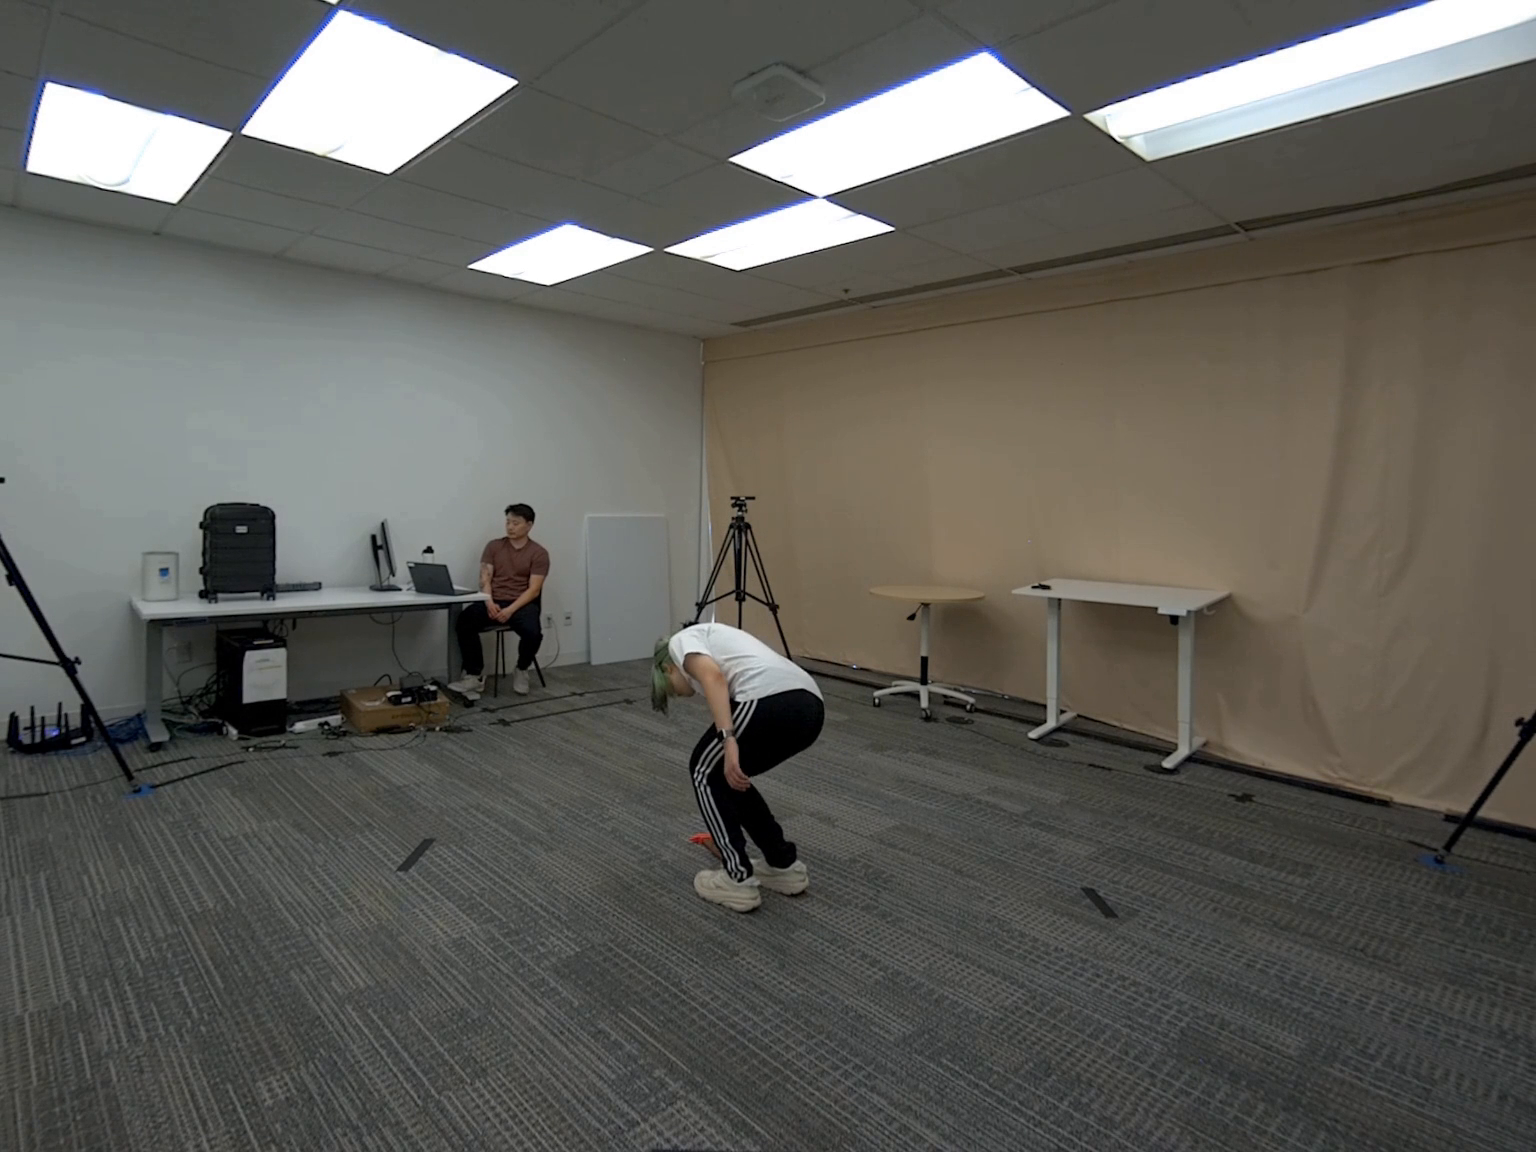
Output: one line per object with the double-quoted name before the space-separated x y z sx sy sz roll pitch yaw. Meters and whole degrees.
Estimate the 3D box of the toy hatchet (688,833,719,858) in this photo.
"toy hatchet" -0.191 1.078 3.326 0.128 0.029 0.277 -1 8 -43
